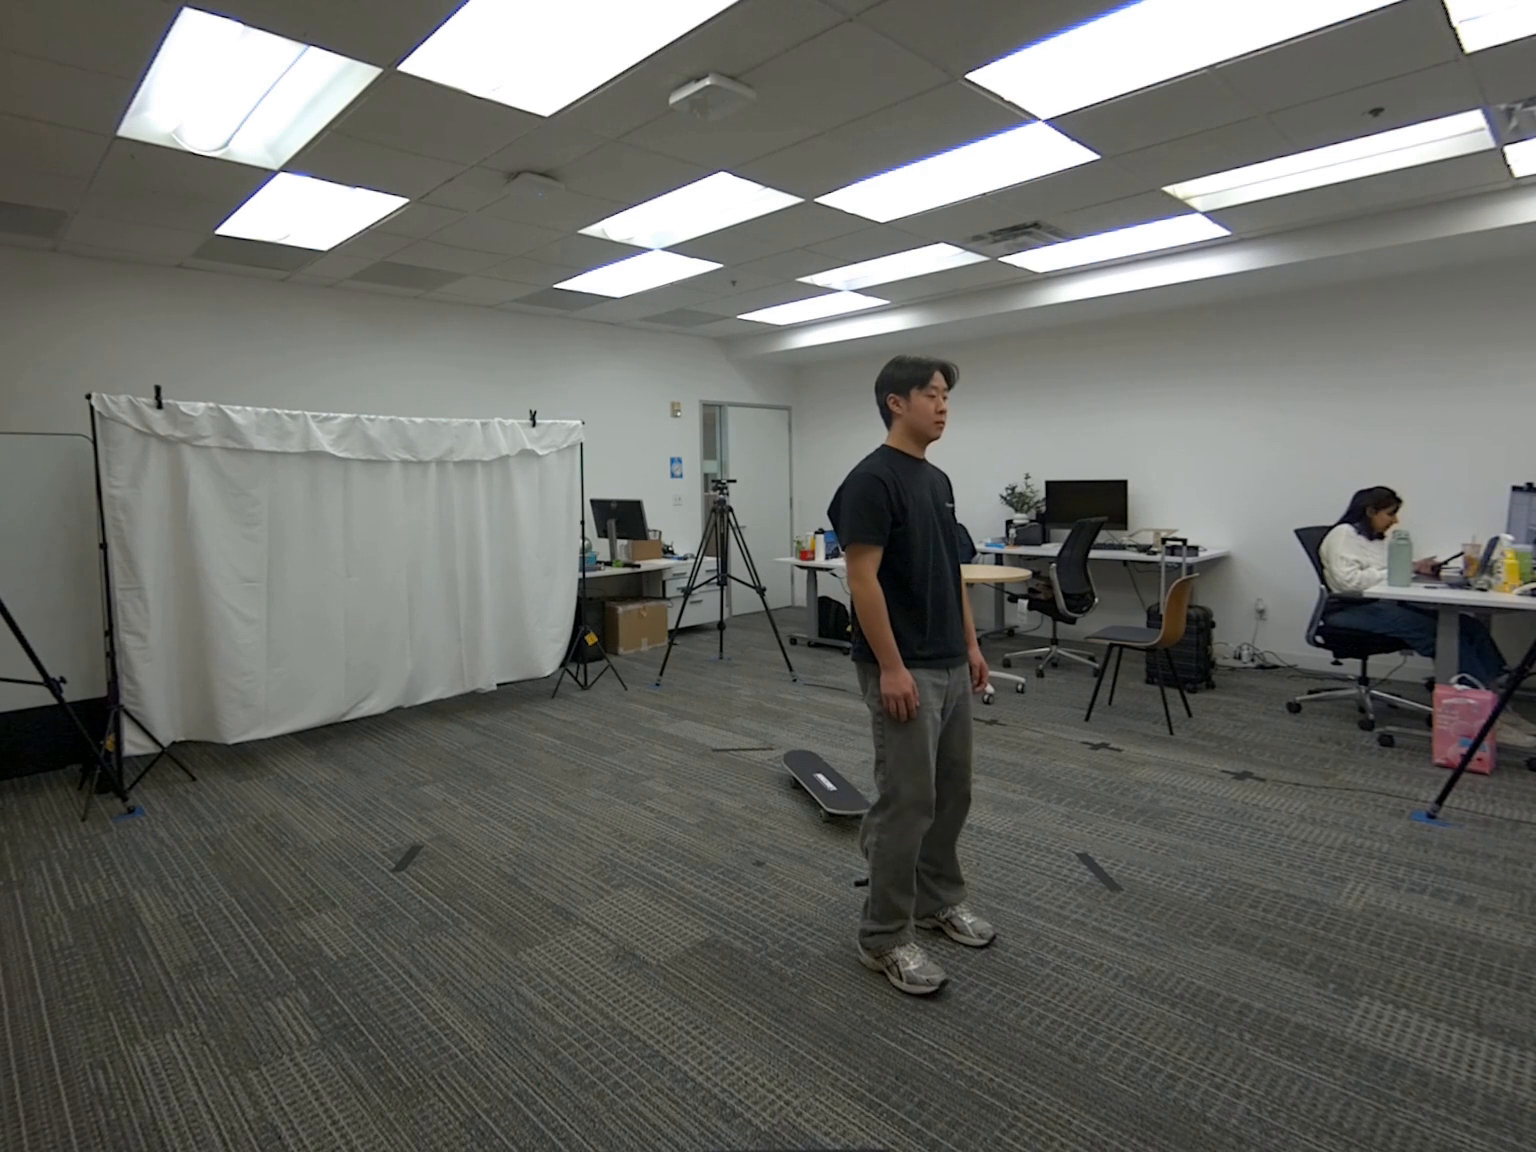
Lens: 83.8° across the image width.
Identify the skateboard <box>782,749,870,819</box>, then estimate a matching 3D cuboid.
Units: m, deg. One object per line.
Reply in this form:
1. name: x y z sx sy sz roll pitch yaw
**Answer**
1. skateboard: 0.252 0.921 3.688 0.191 0.110 0.799 -3 6 -16
